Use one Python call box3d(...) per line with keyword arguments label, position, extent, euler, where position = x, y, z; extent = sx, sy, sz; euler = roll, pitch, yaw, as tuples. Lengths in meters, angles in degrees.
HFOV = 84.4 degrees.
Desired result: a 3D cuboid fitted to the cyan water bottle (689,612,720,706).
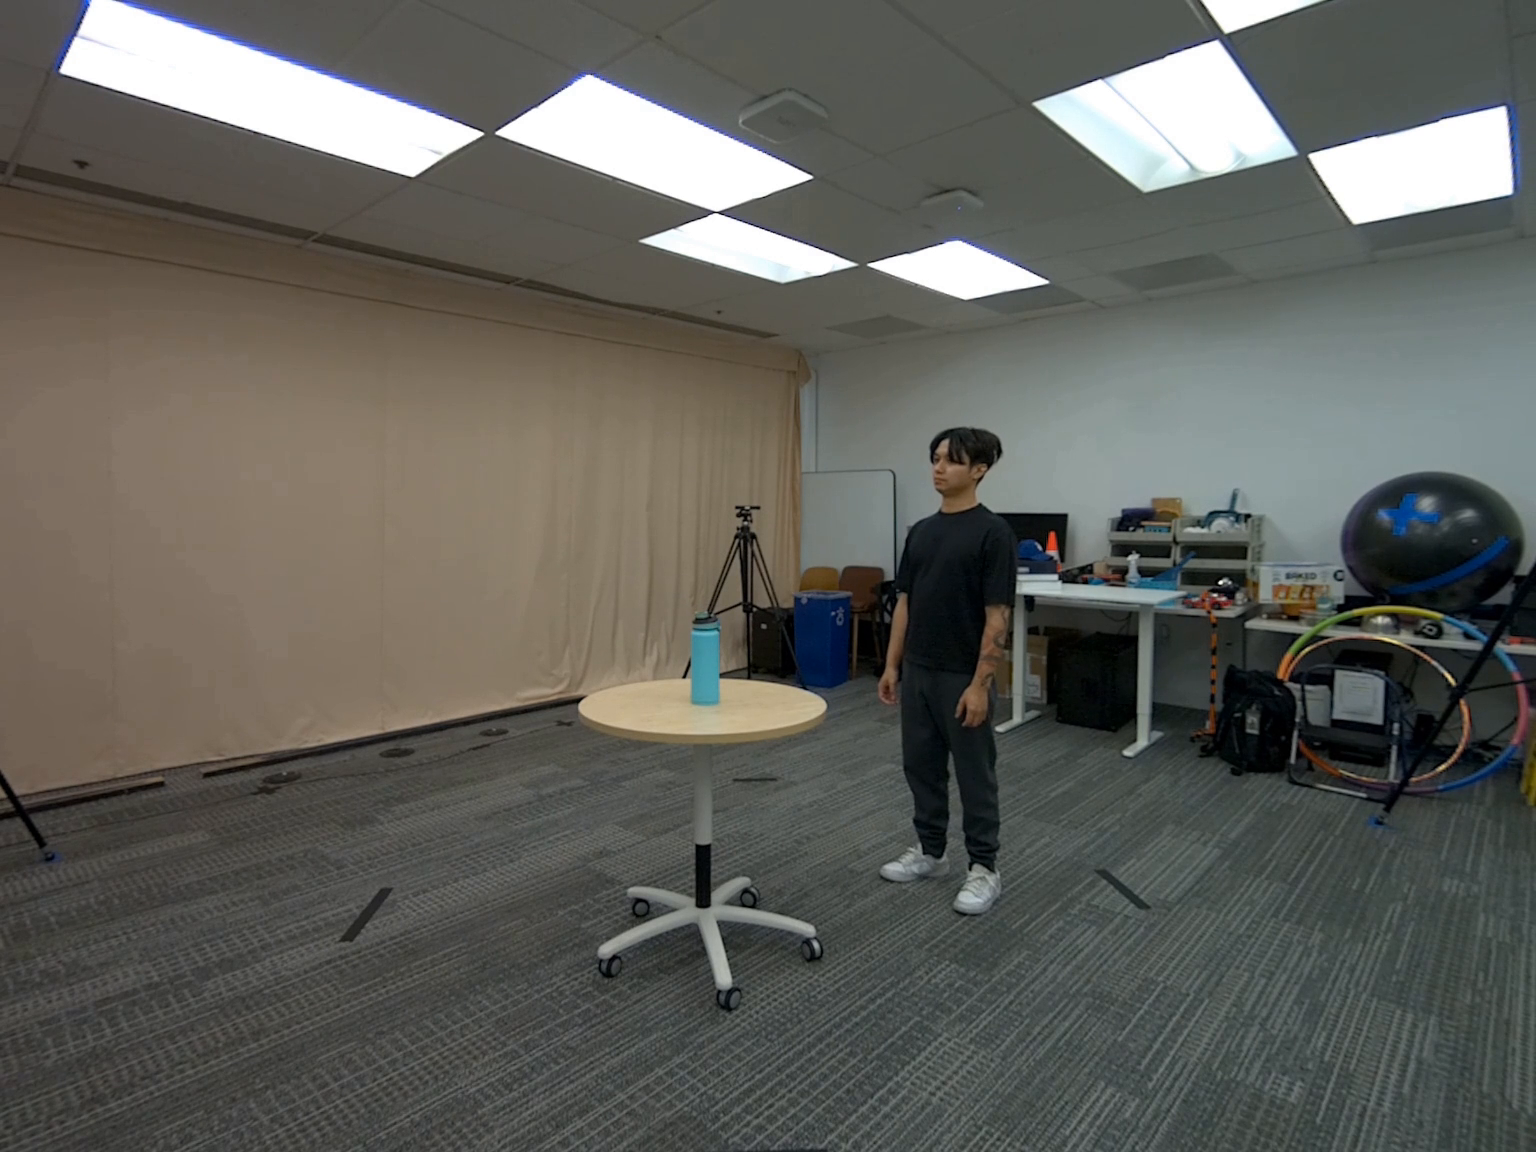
box3d(label="cyan water bottle", position=(-0.194, 0.261, 2.604), extent=(0.092, 0.283, 0.092), euler=(3, 1, -2))
